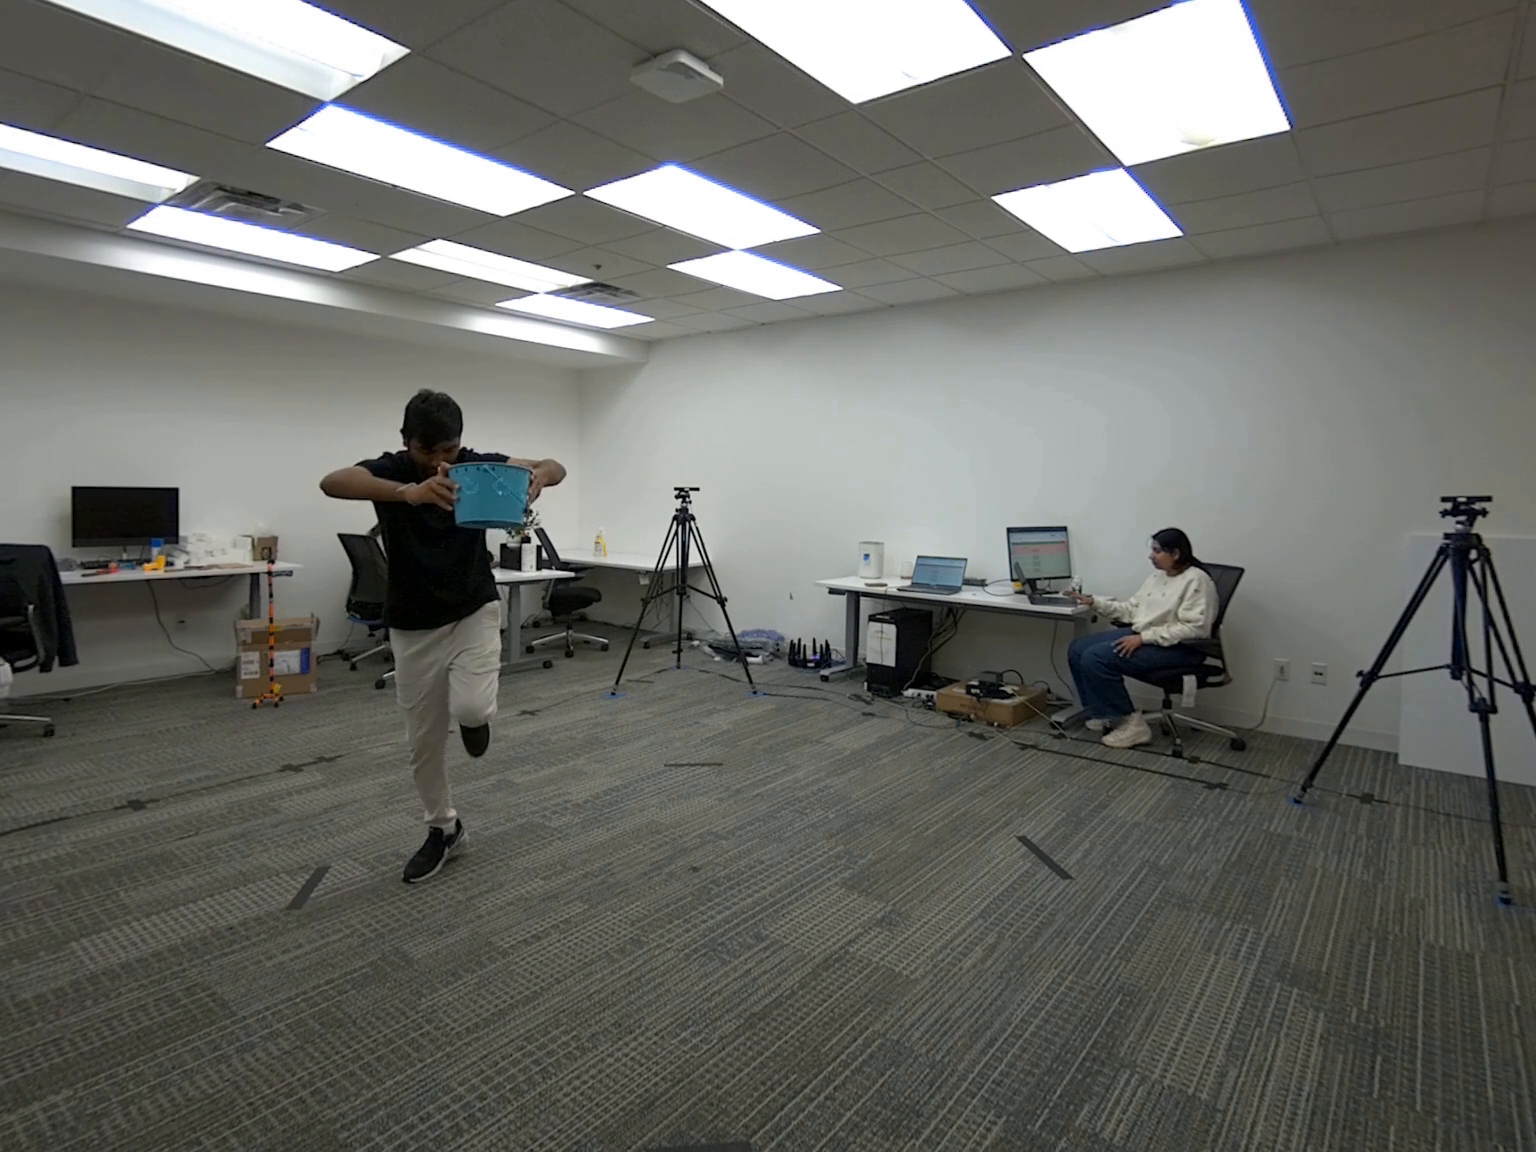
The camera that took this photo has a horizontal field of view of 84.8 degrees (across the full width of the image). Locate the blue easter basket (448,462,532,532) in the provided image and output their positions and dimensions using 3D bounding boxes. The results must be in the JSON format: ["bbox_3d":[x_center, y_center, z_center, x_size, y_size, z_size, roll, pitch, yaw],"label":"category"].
[{"bbox_3d":[-0.800,-0.197,2.349,0.243,0.157,0.243,-1,-4,-2],"label":"blue easter basket"}]
